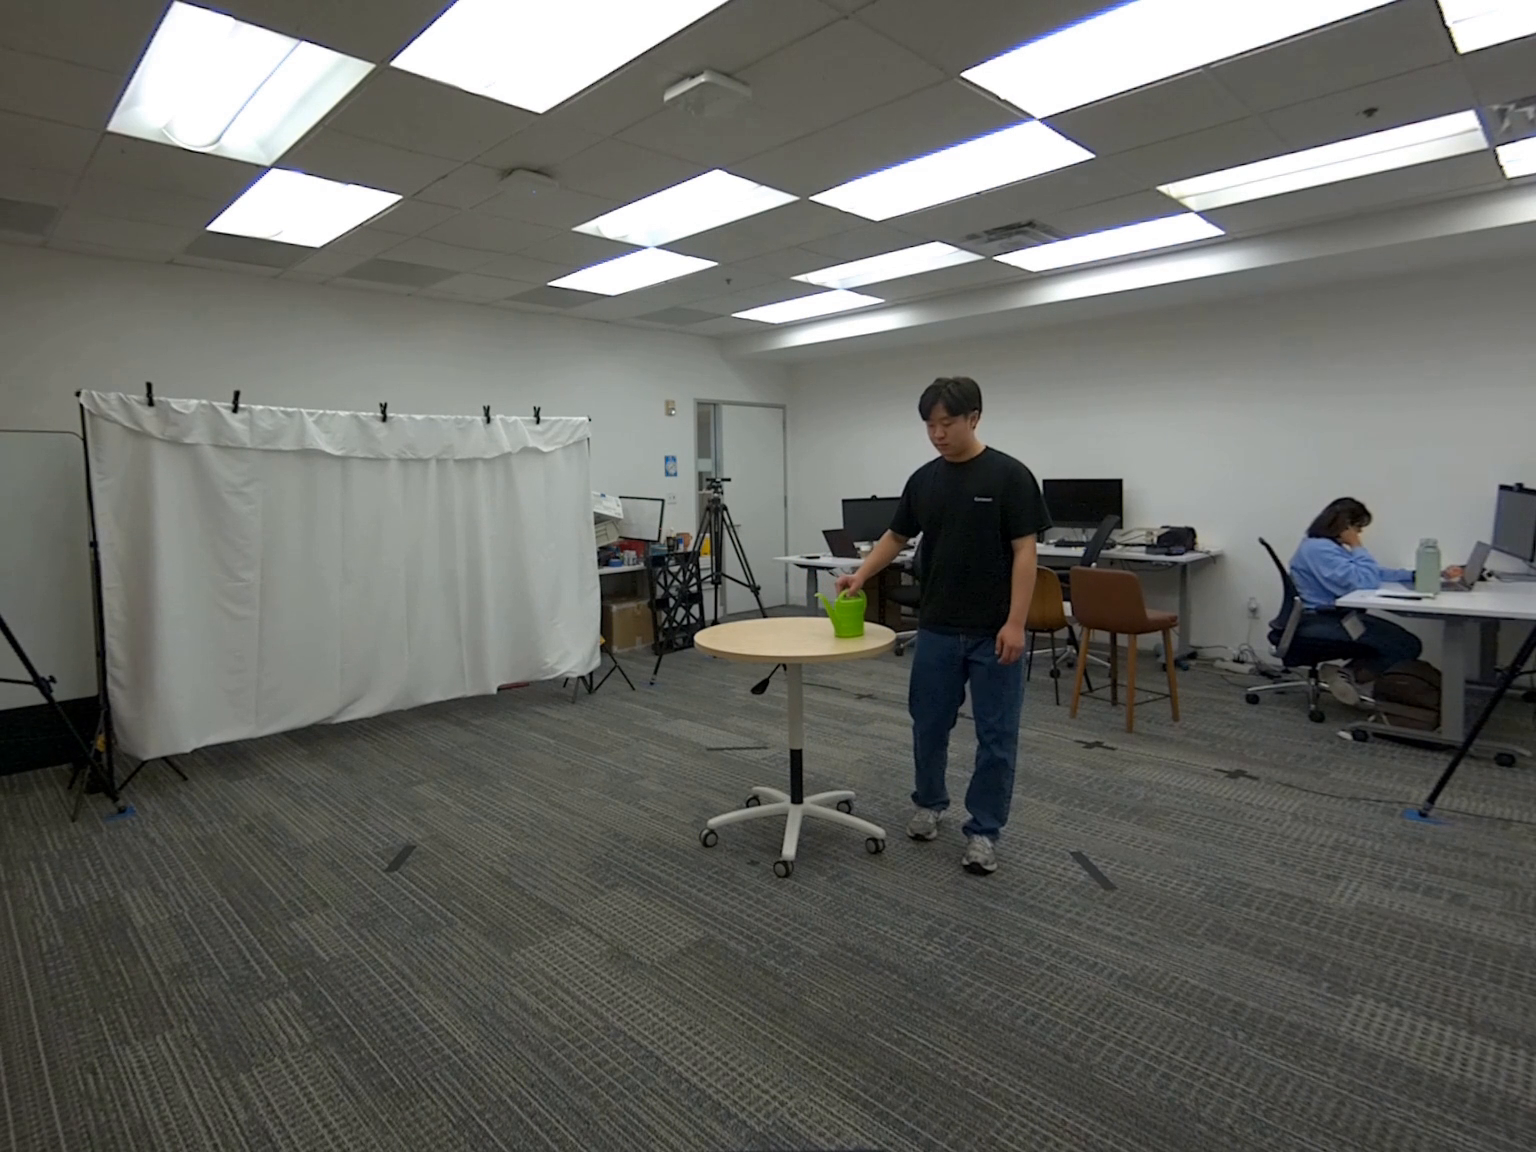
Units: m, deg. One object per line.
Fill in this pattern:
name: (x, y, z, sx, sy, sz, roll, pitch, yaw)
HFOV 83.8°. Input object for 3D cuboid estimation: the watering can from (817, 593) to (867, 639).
watering can: (0.277, 0.139, 3.213, 0.271, 0.176, 0.100, -2, 2, -30)
